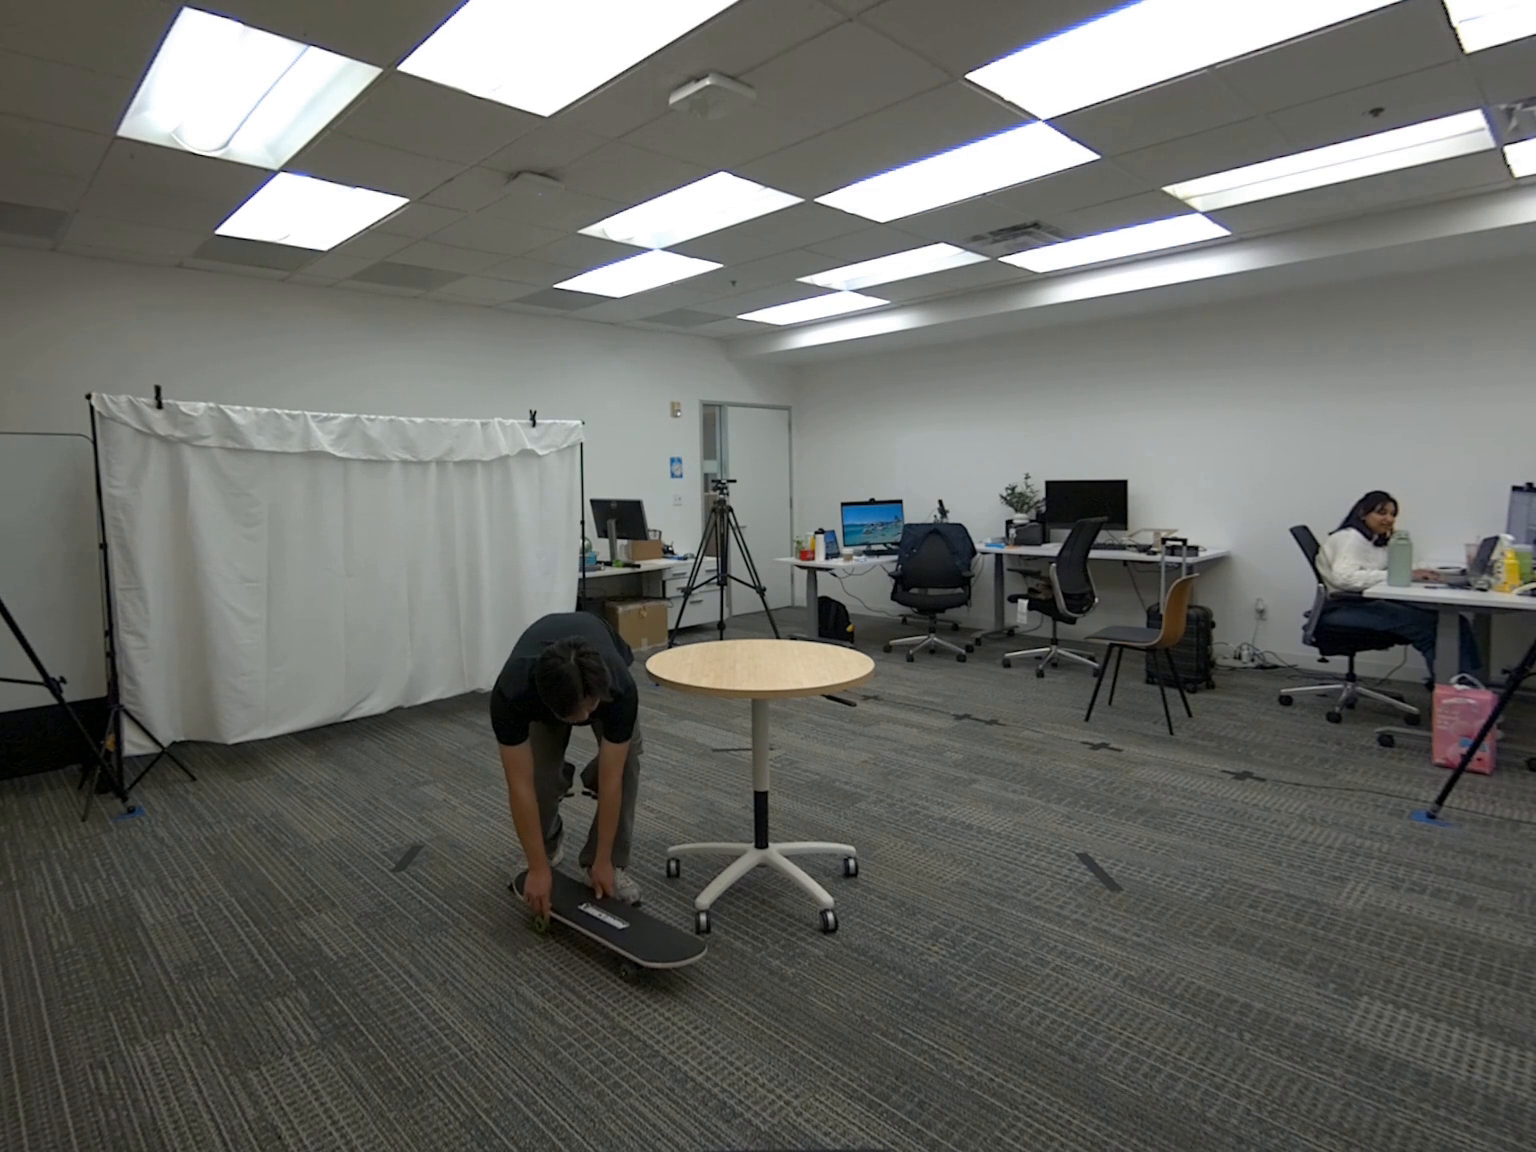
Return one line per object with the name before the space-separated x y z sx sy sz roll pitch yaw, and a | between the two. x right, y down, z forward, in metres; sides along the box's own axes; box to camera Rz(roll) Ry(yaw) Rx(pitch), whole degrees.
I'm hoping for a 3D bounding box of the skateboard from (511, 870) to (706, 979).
skateboard | -0.498 1.065 2.579 0.809 0.110 0.188 4 6 40
